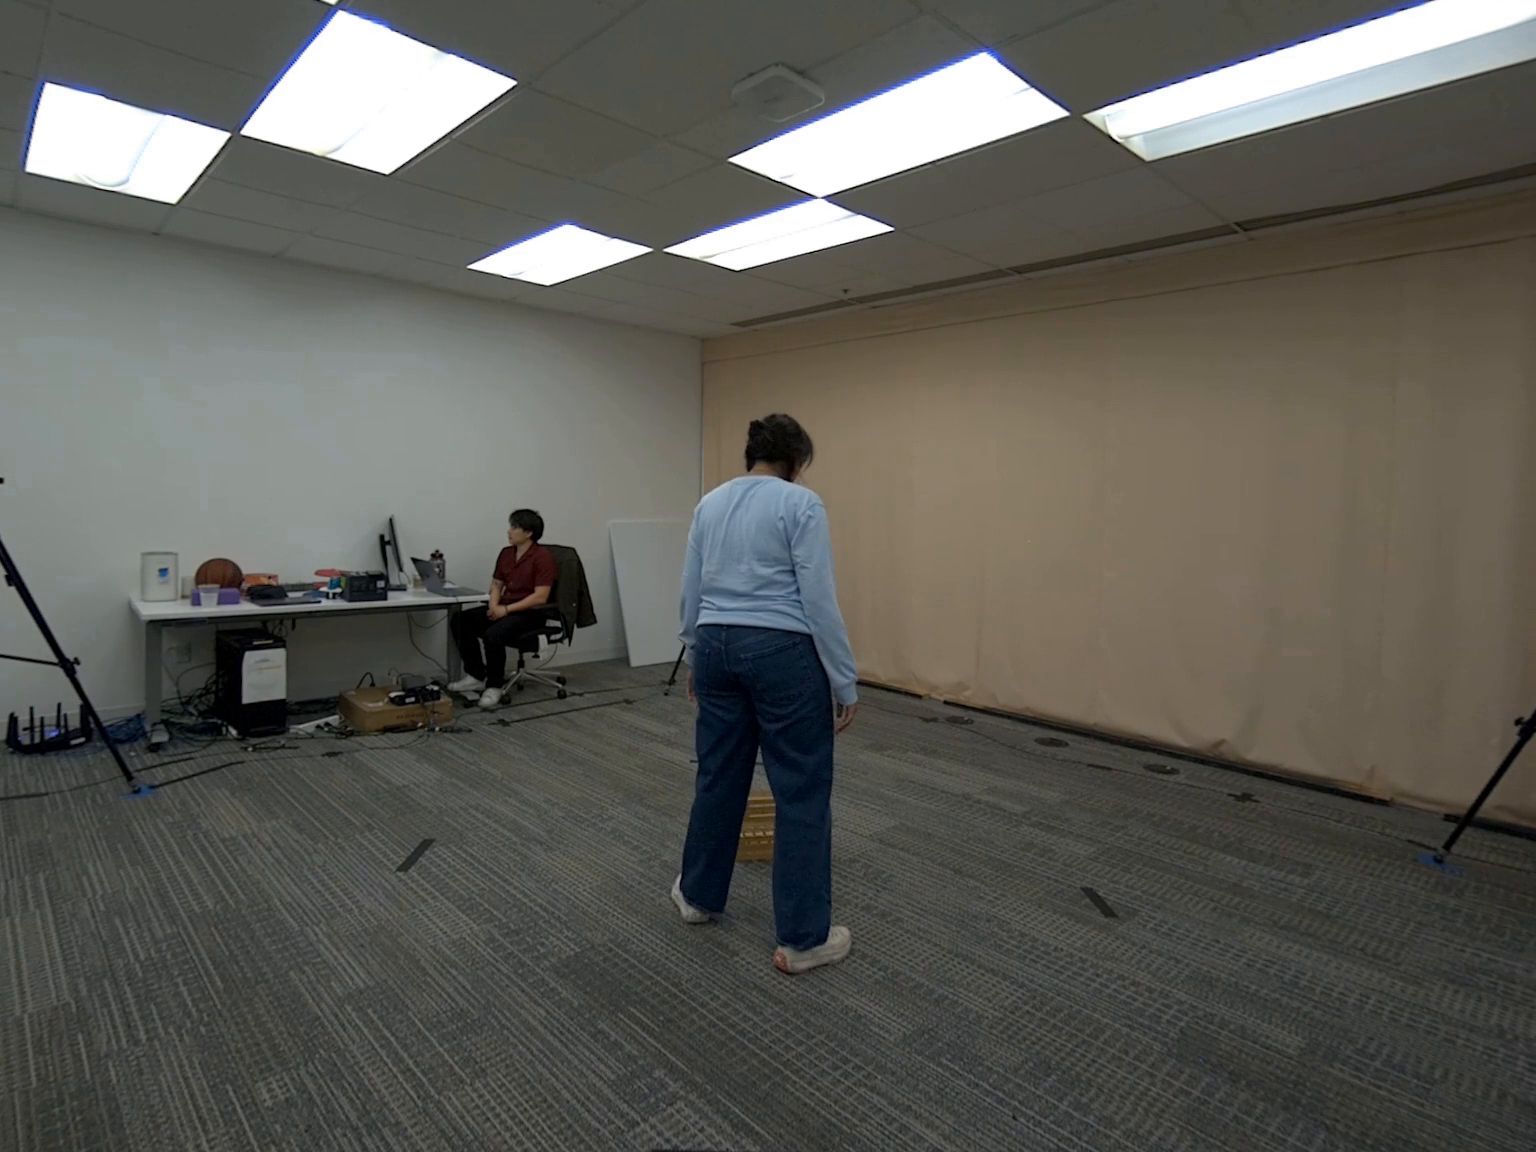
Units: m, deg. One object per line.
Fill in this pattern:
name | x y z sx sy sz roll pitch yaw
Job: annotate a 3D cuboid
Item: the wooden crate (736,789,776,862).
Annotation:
wooden crate | -0.001 0.960 3.350 0.322 0.272 0.305 1 4 -11
